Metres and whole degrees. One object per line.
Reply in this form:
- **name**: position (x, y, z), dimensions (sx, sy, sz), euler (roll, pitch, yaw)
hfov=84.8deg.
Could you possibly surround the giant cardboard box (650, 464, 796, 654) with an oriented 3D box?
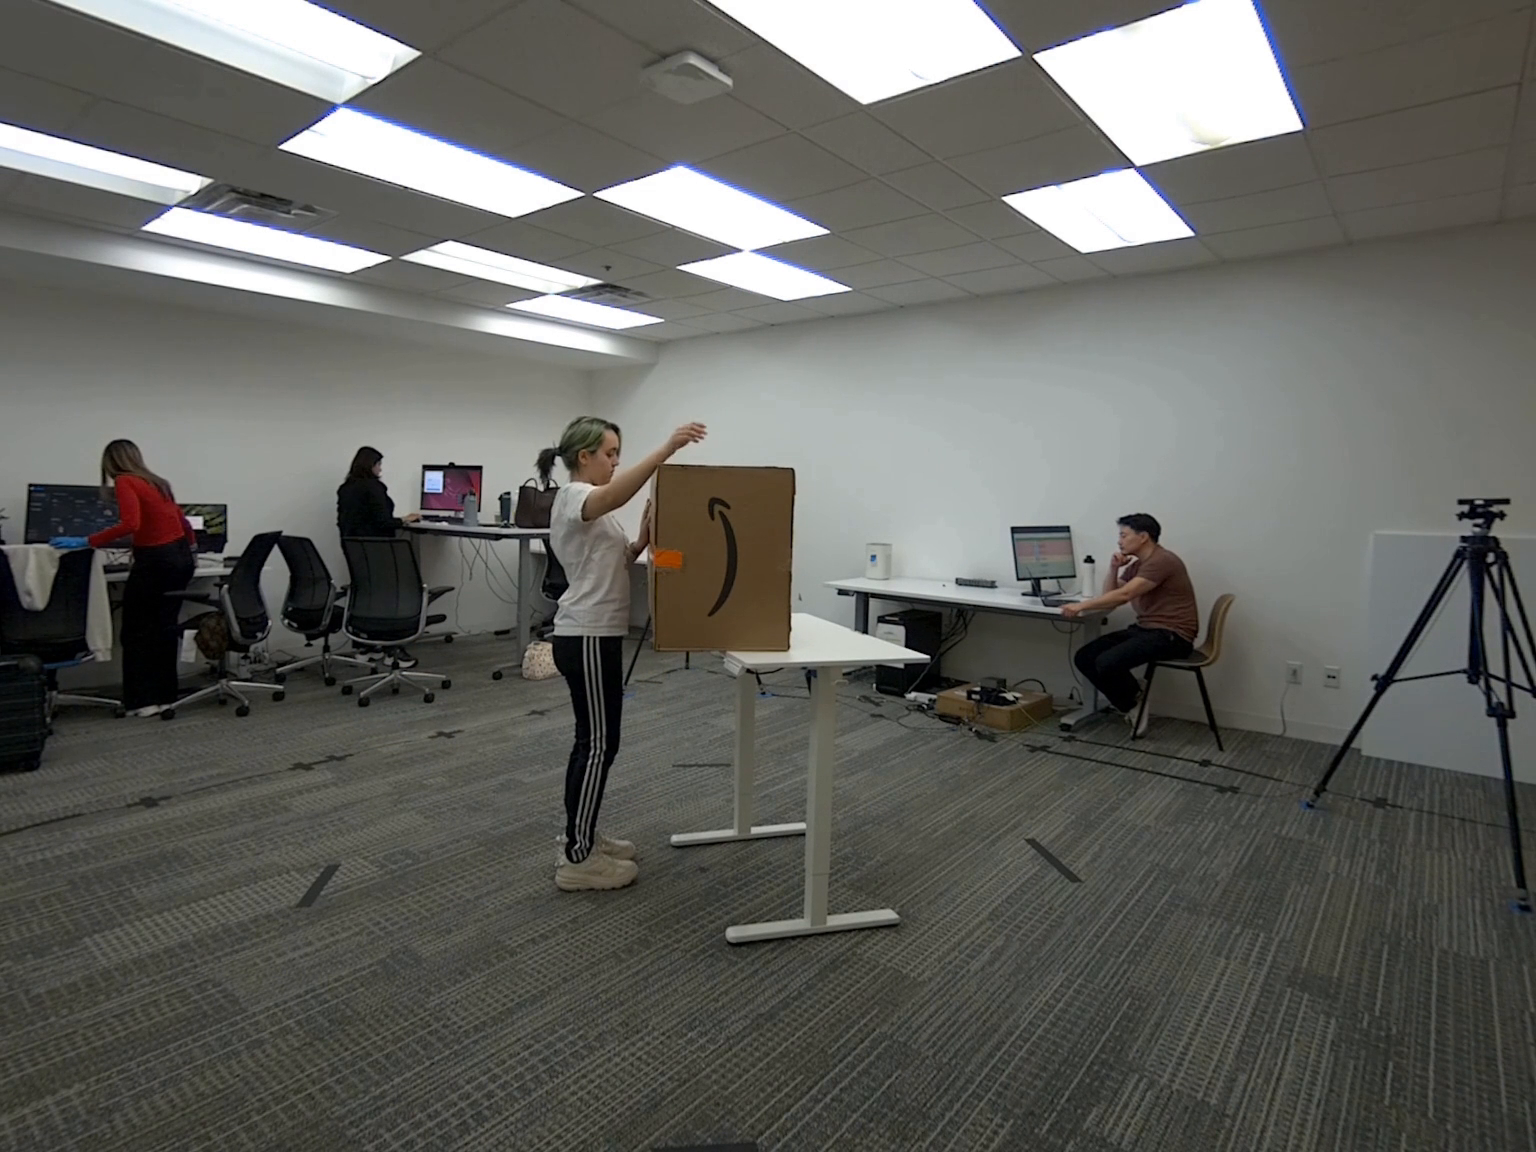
- **giant cardboard box**: position (-0.220, -0.105, 3.127), dimensions (0.443, 0.582, 1.038), euler (0, 4, -9)
